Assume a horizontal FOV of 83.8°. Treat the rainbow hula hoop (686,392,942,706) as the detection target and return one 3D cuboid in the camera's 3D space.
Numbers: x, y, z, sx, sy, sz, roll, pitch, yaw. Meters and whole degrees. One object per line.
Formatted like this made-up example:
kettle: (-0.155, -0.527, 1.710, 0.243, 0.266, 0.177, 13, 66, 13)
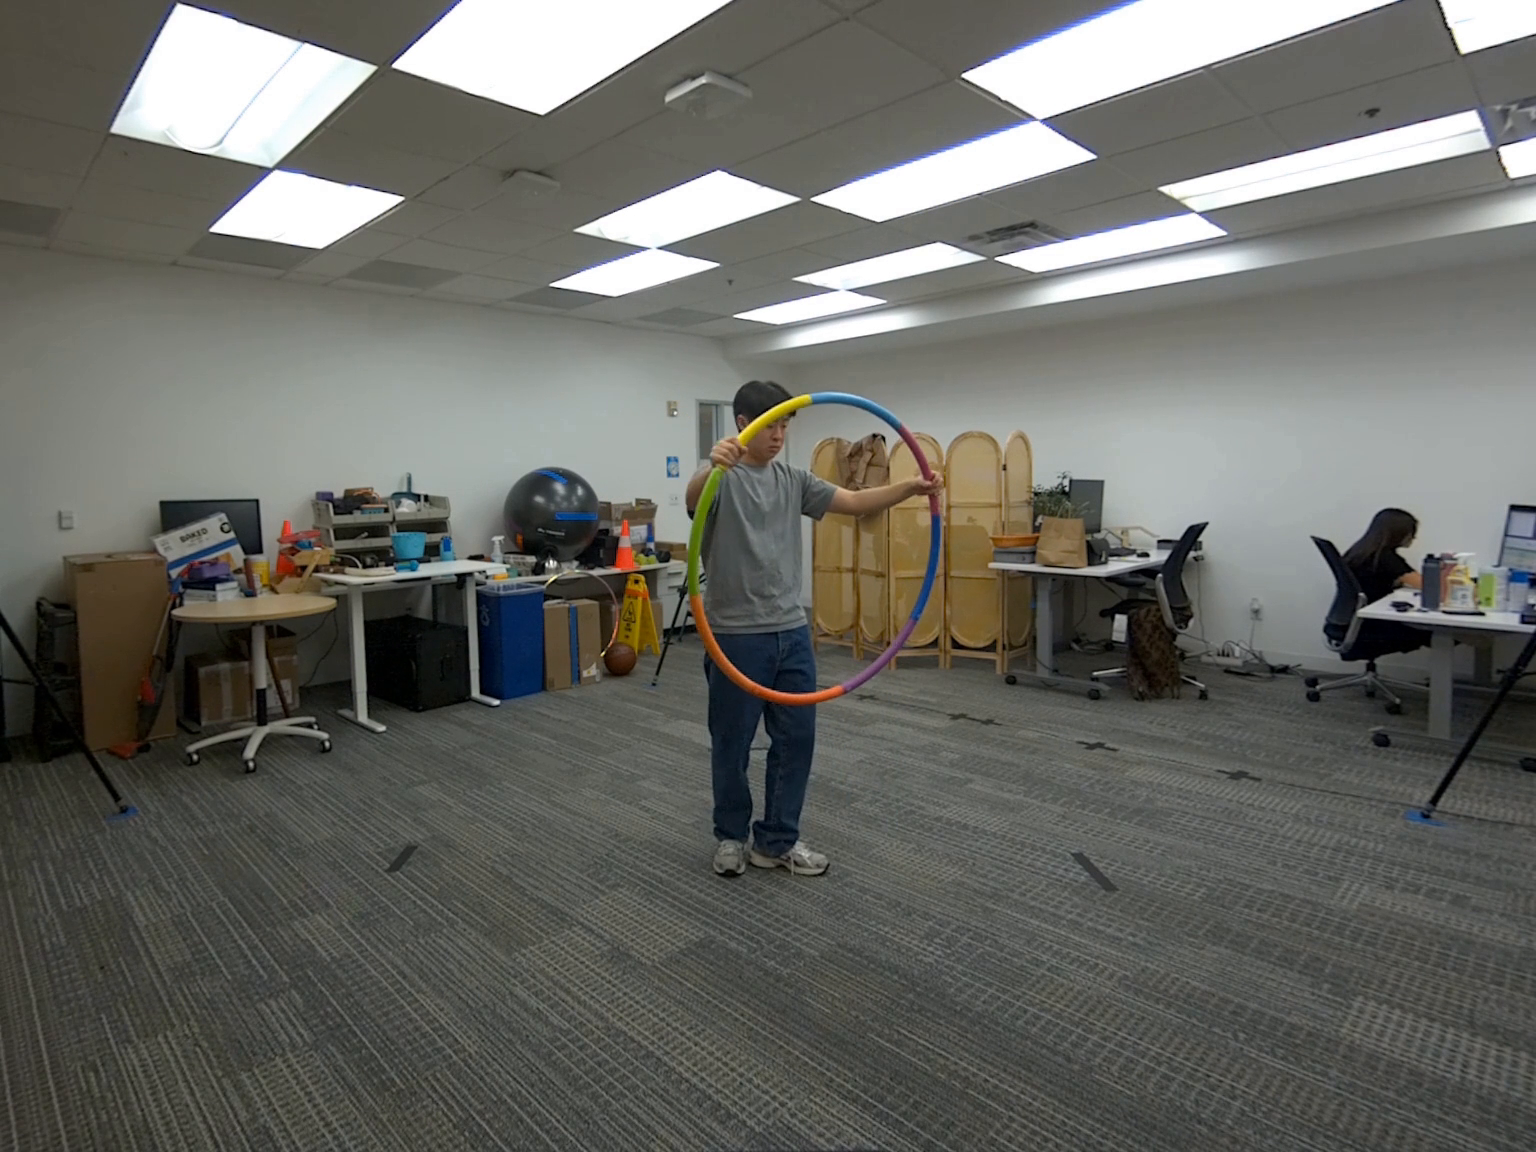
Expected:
rainbow hula hoop: (0.172, -0.071, 2.688, 0.955, 0.971, 0.036, -4, 10, -31)
